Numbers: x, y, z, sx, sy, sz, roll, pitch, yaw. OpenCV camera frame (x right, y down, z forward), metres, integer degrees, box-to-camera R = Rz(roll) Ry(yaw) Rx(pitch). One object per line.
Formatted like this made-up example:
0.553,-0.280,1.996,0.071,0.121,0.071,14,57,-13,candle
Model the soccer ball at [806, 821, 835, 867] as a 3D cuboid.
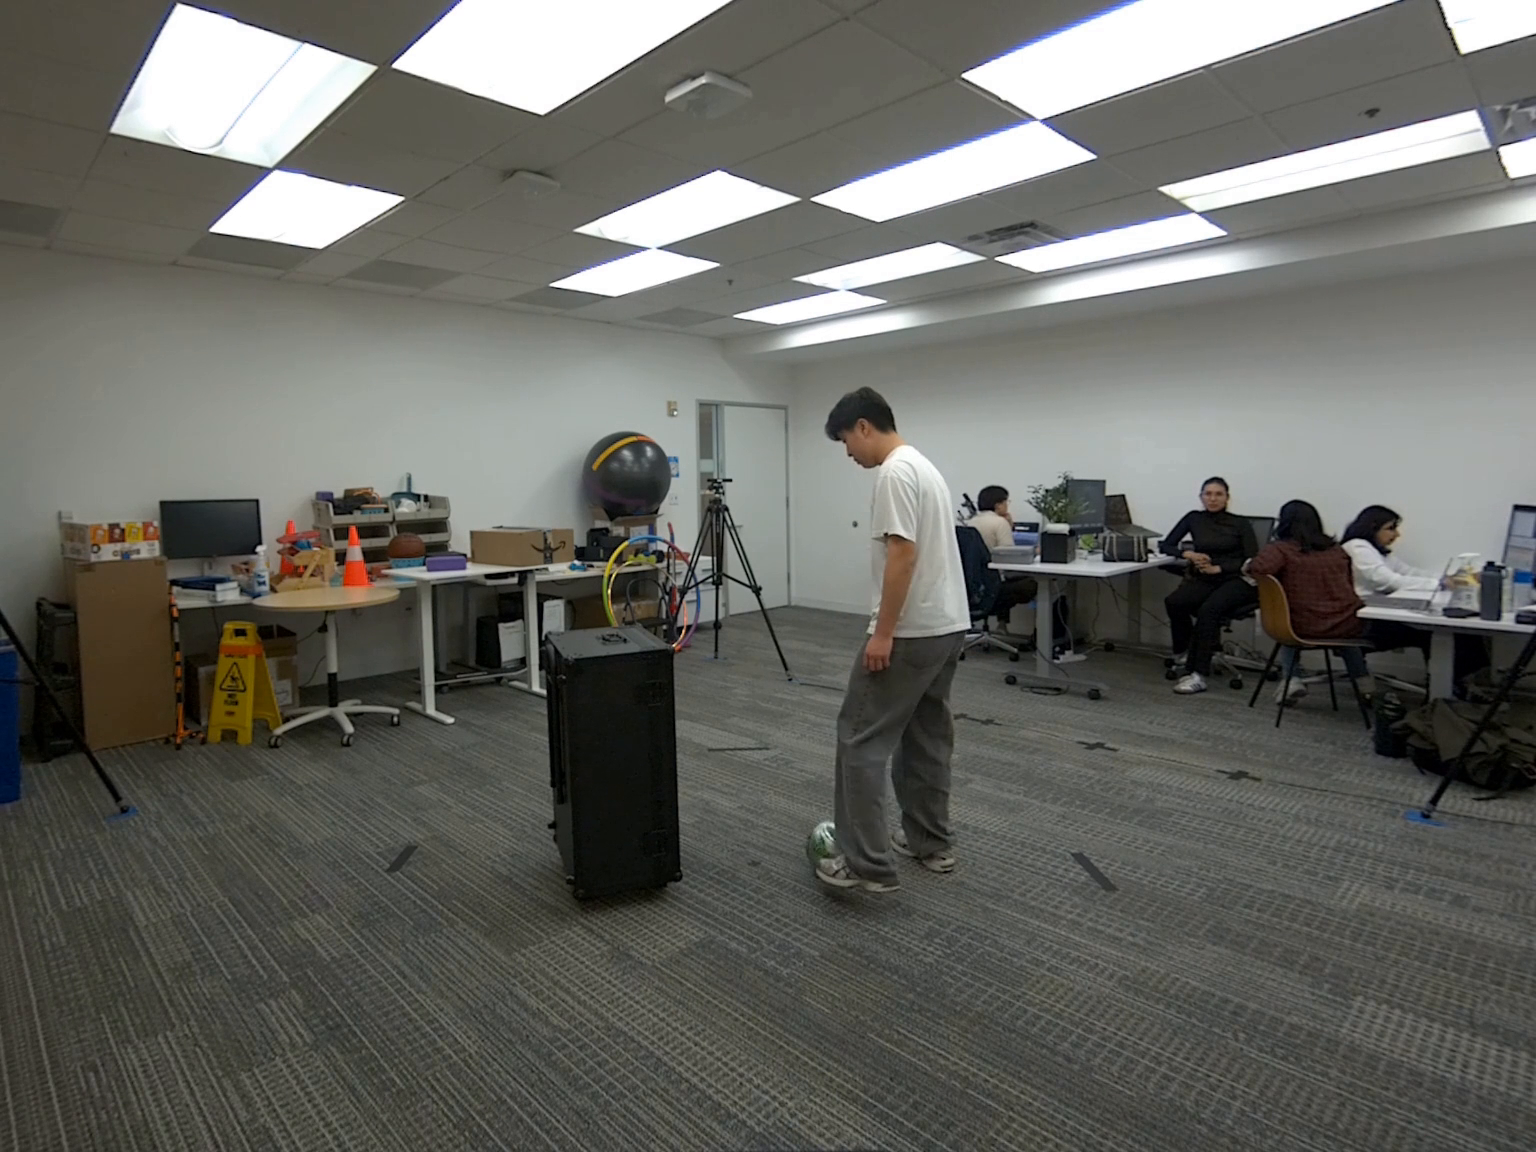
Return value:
0.228,0.951,3.012,0.187,0.187,0.188,-1,5,-2,soccer ball
